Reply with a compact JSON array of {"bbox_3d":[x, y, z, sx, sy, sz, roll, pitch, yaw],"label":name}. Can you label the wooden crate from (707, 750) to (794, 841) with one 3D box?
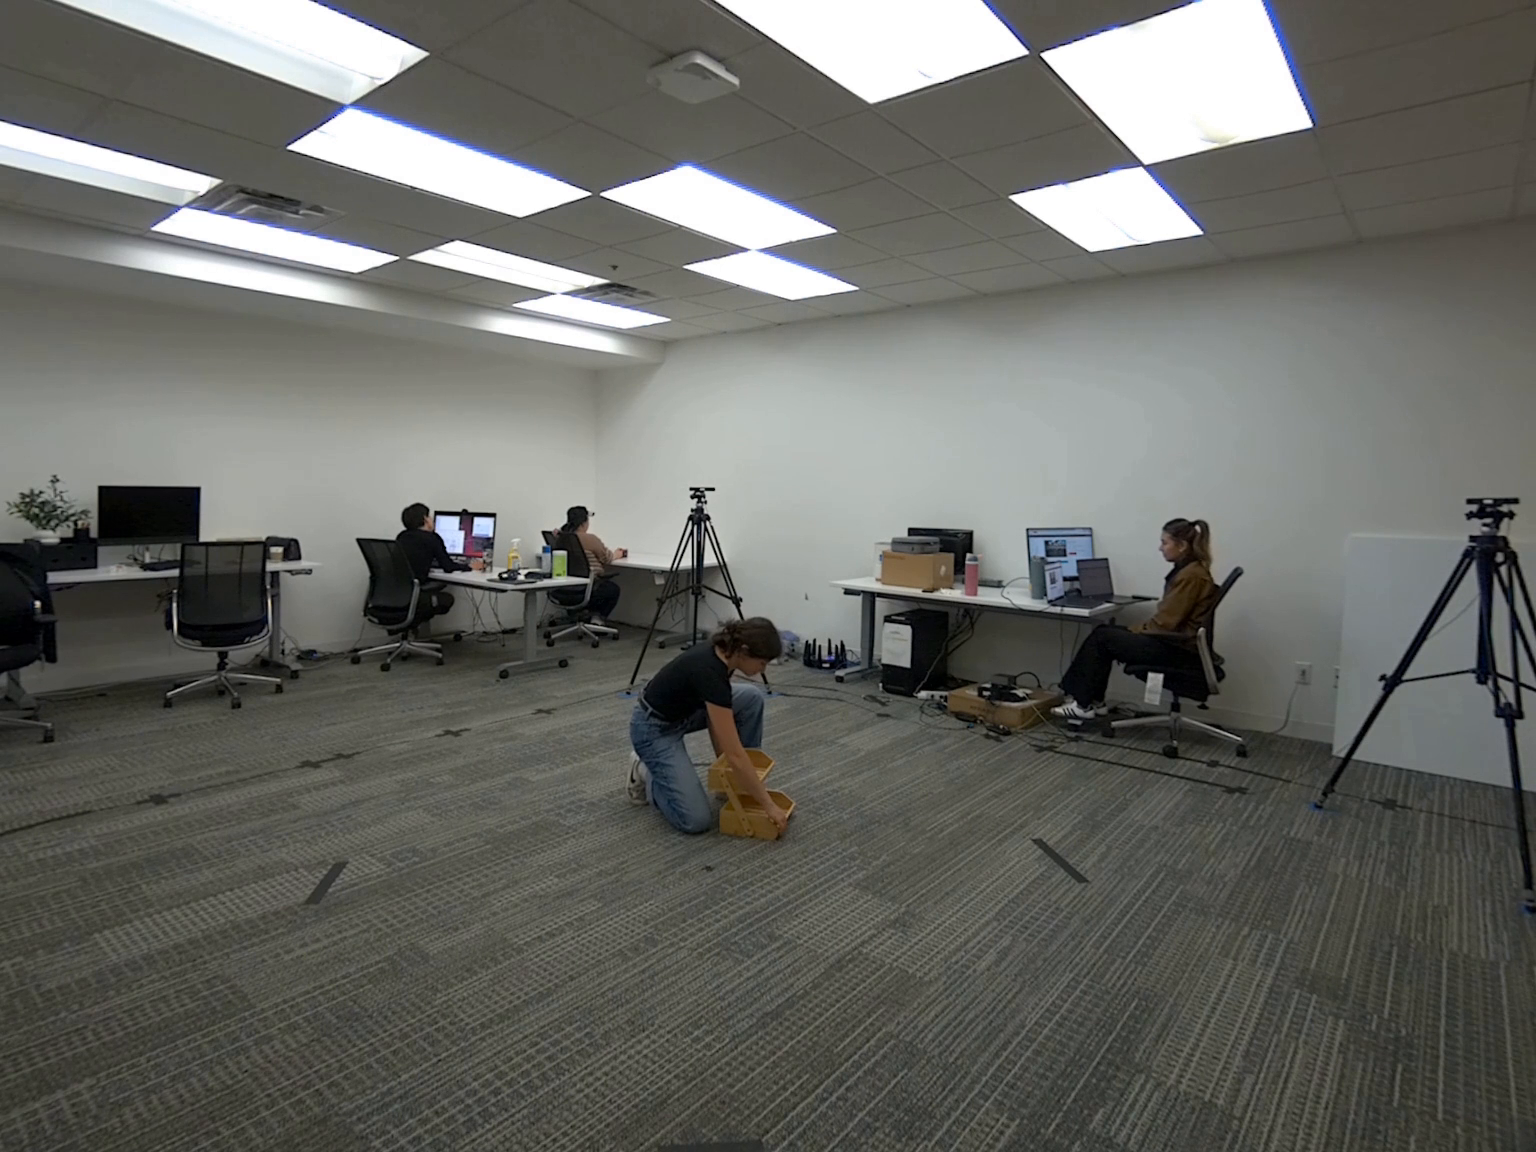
[{"bbox_3d":[-0.068,0.894,3.545,0.307,0.272,0.320,1,4,15],"label":"wooden crate"}]
